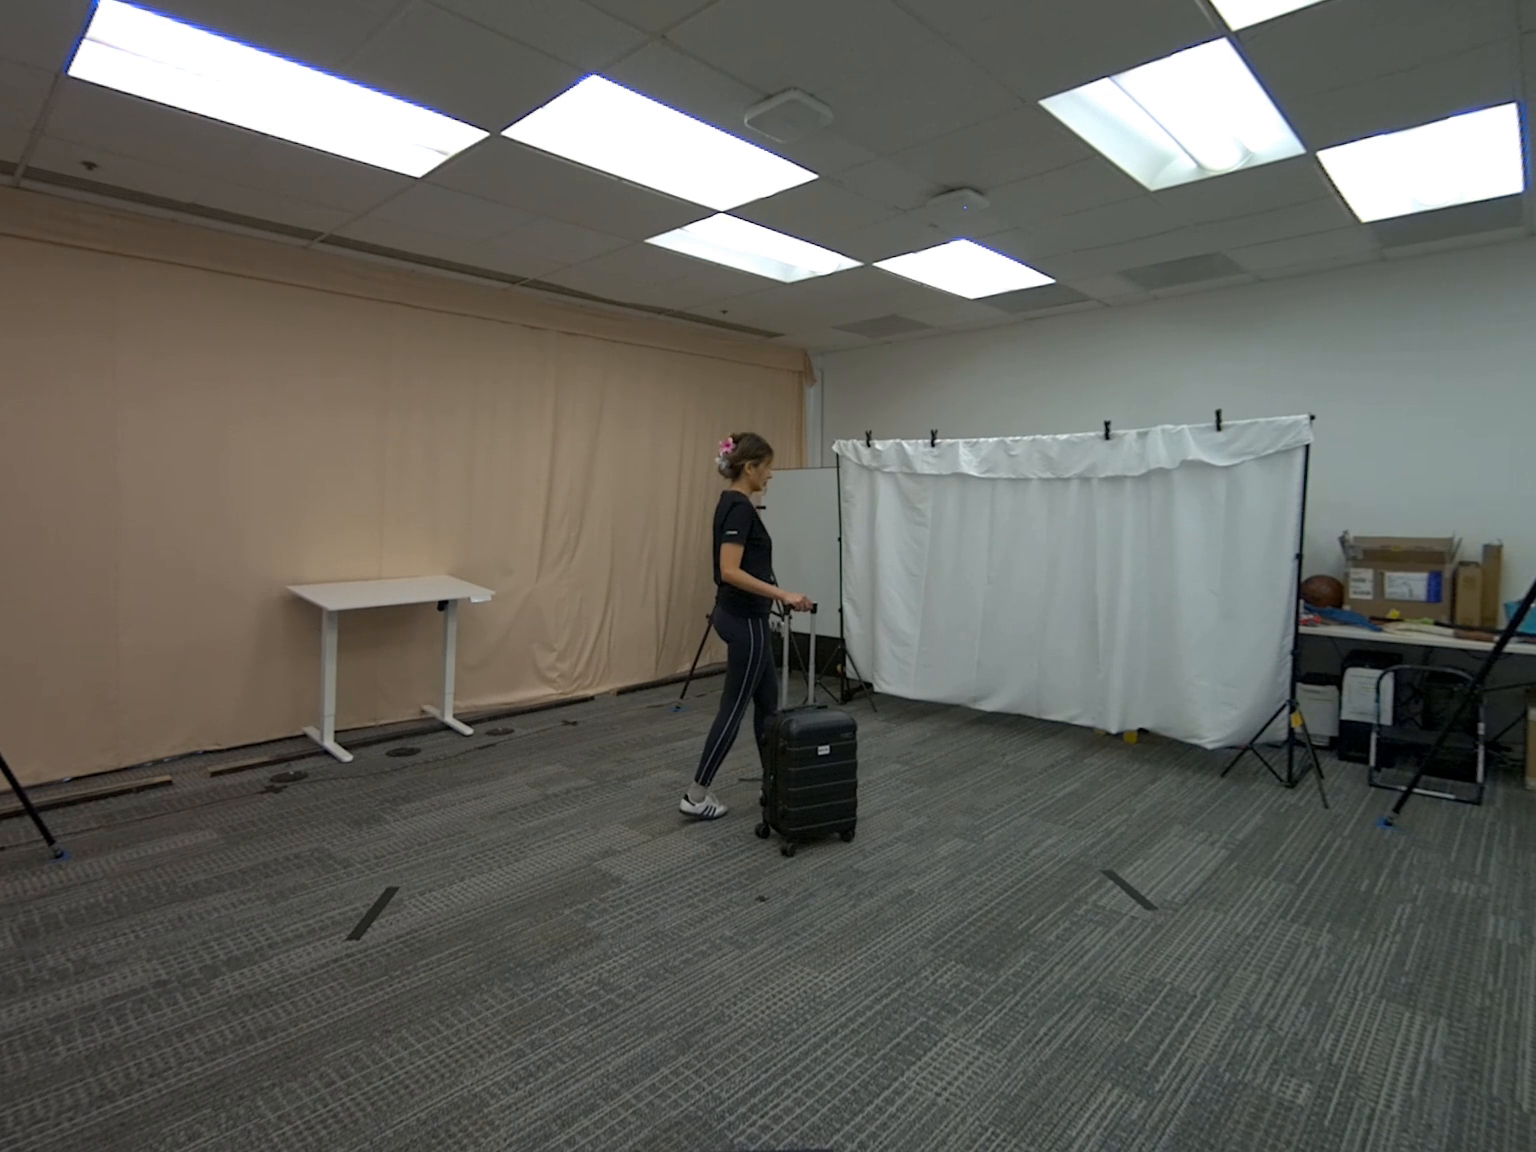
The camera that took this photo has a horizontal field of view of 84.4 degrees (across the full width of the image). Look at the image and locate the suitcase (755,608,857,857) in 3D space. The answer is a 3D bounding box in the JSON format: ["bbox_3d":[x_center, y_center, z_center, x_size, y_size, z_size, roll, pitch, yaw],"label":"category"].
[{"bbox_3d":[0.185,0.626,3.489,0.374,0.976,0.264,0,4,-26],"label":"suitcase"}]
